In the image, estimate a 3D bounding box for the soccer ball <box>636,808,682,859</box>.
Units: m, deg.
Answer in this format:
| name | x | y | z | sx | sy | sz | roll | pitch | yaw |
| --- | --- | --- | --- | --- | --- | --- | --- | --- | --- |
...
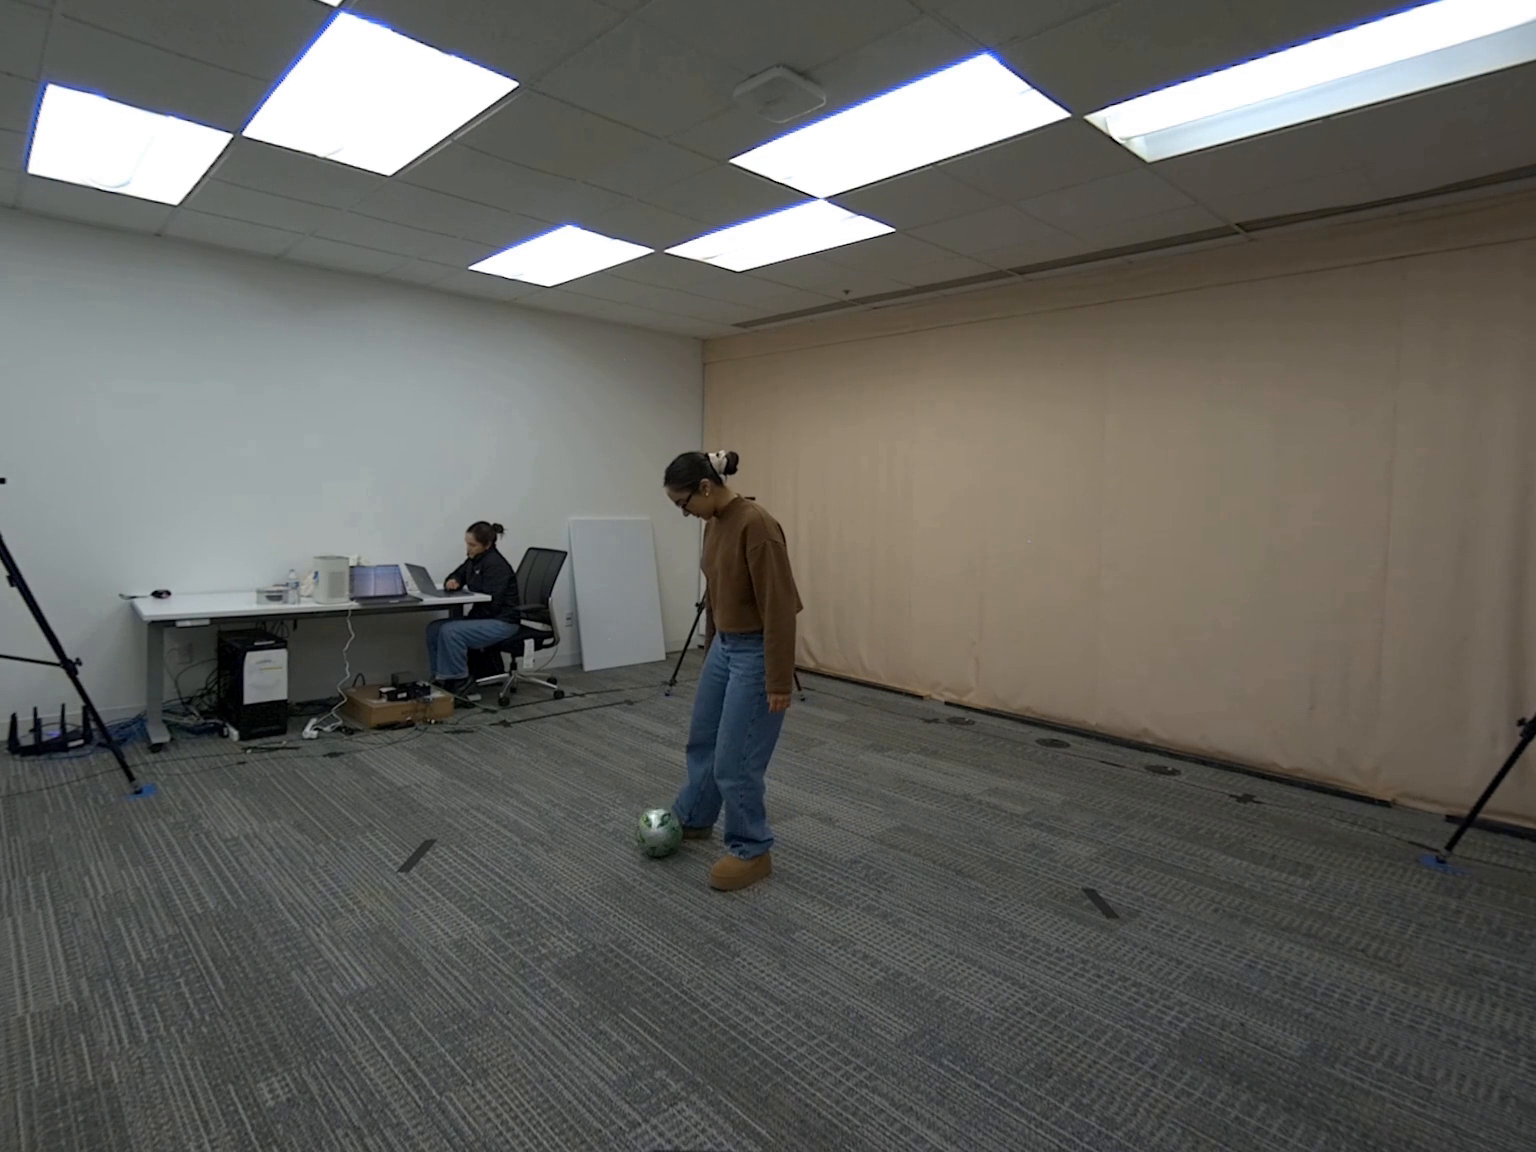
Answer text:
| name | x | y | z | sx | sy | sz | roll | pitch | yaw |
| --- | --- | --- | --- | --- | --- | --- | --- | --- | --- |
| soccer ball | -0.433 | 0.988 | 3.267 | 0.187 | 0.187 | 0.188 | 1 | 4 | -1 |
